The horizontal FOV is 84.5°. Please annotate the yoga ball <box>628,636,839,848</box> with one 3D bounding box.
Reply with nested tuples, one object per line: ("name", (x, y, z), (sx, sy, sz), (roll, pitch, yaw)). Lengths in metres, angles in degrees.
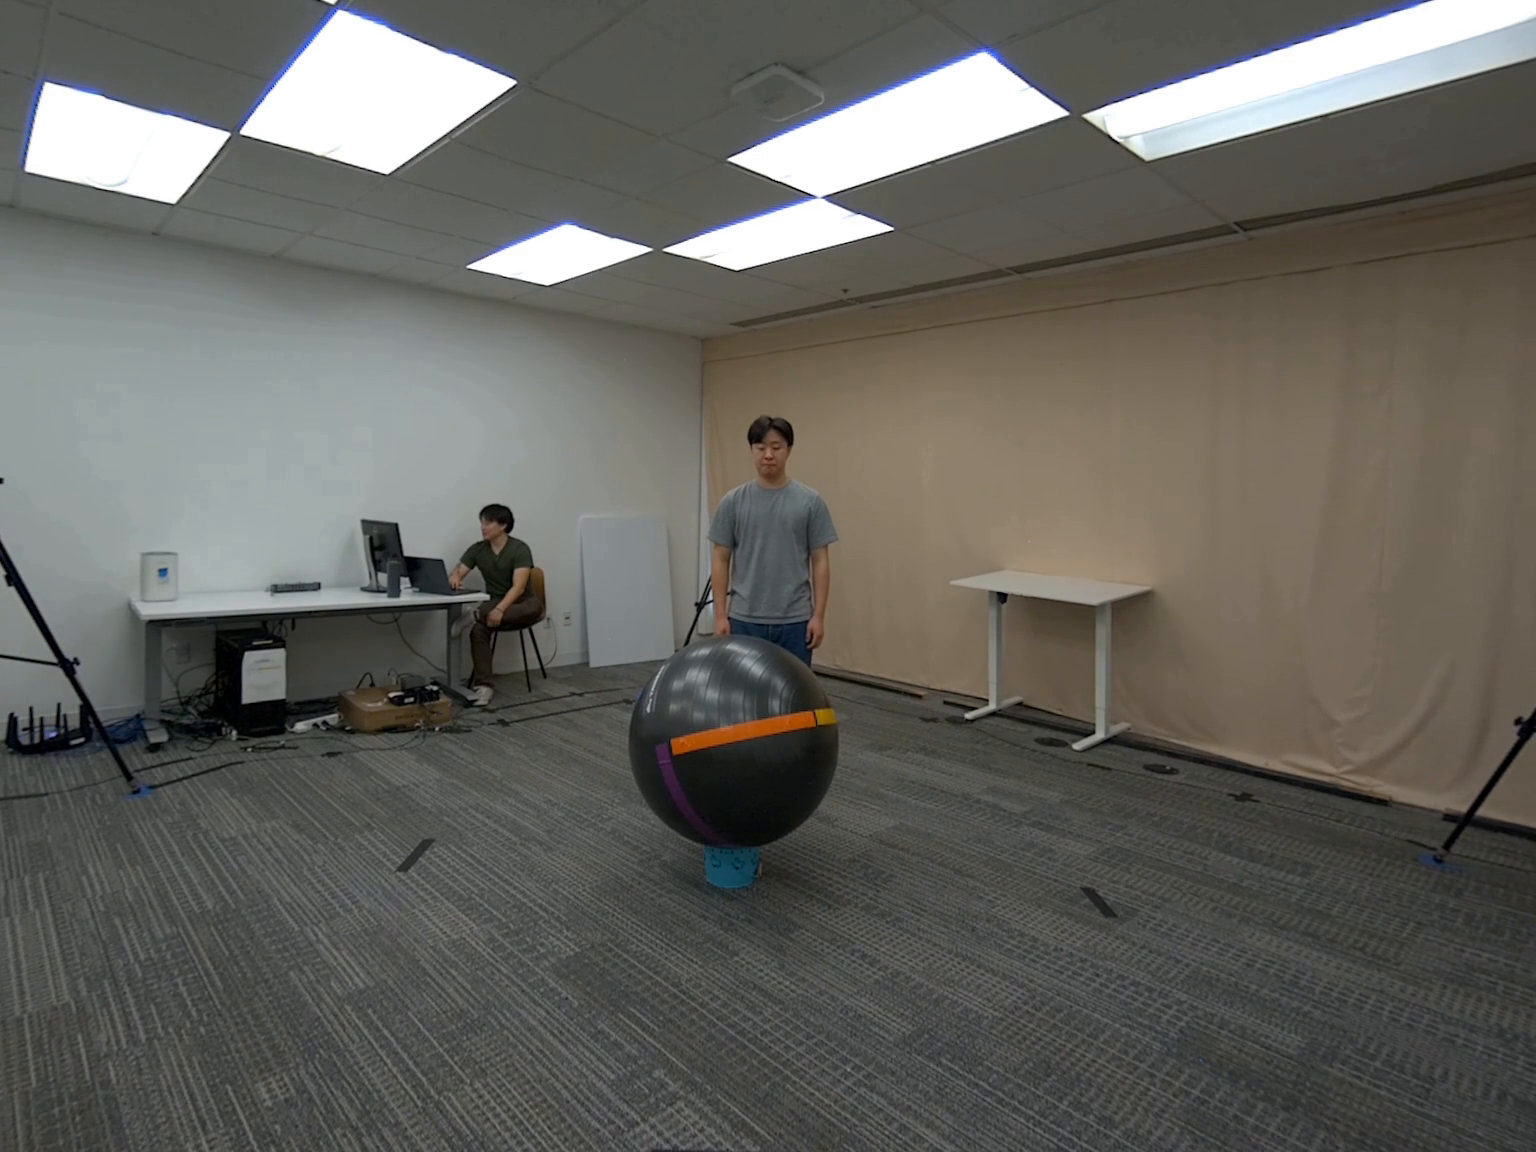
("yoga ball", (-0.135, 0.603, 3.055), (0.757, 0.756, 0.761), (1, 4, -1))
